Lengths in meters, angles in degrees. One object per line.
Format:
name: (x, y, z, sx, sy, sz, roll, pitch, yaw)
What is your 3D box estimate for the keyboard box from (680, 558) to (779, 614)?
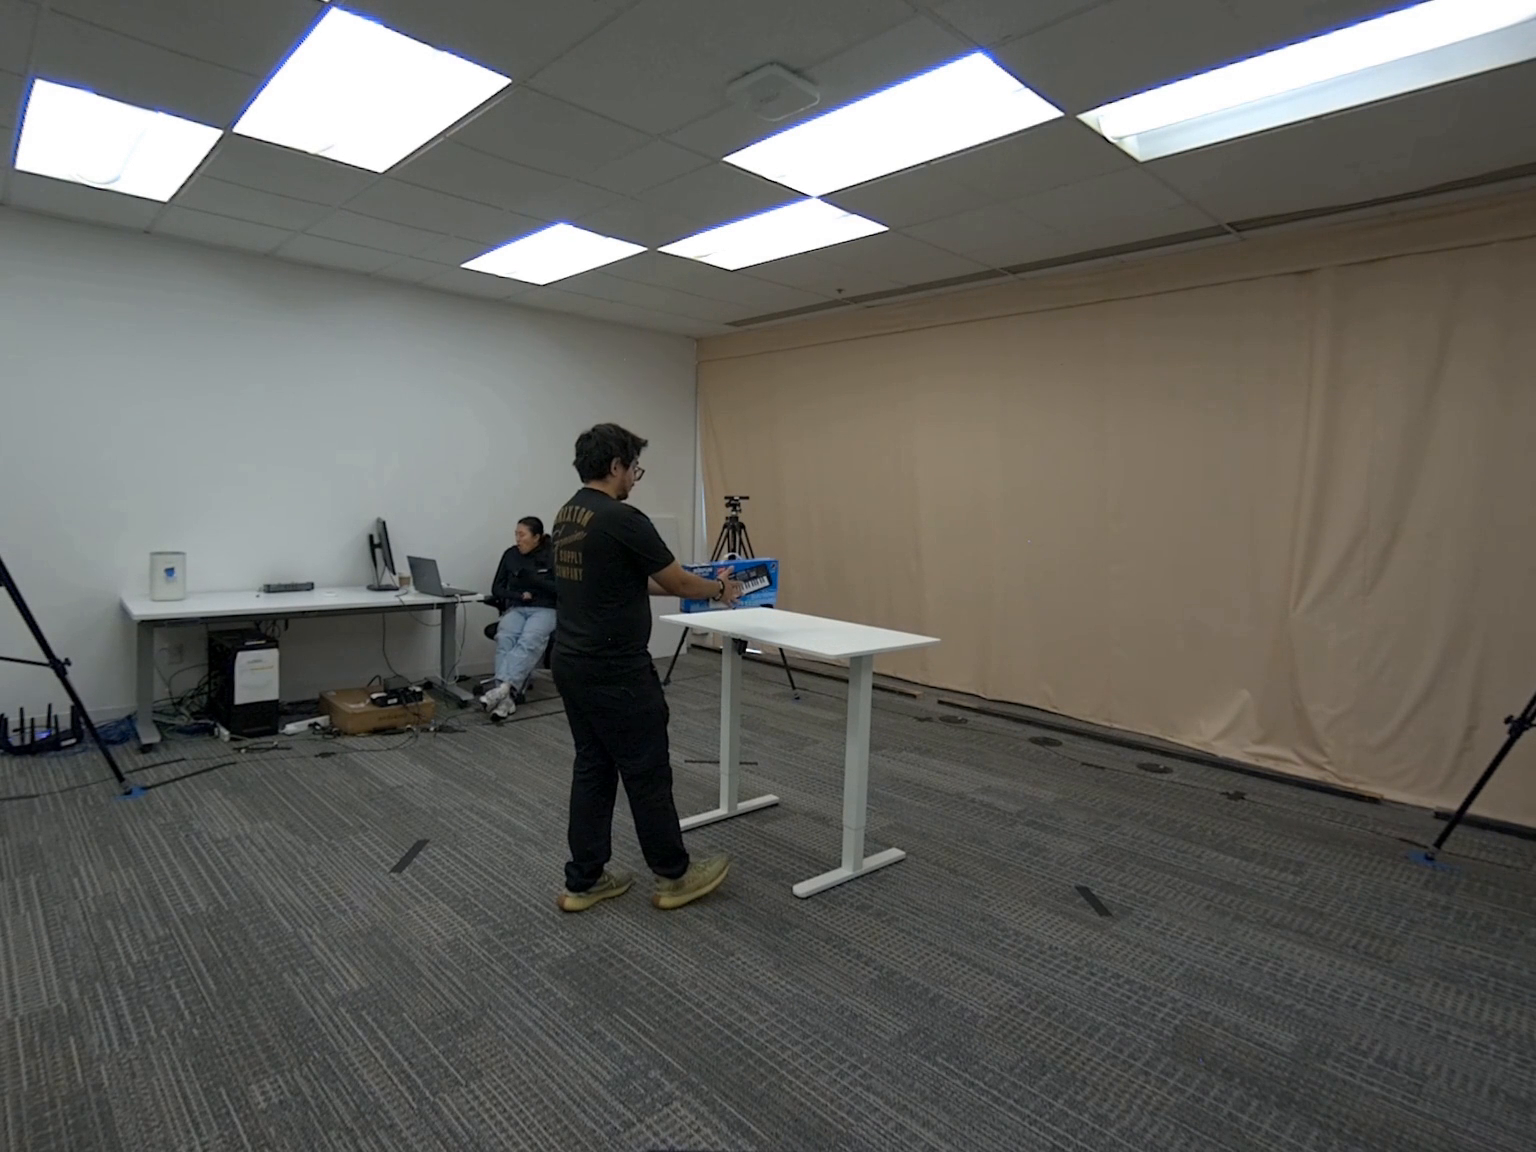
keyboard box: (-0.141, 0.039, 3.163, 0.427, 0.175, 0.060, -6, 9, -42)
